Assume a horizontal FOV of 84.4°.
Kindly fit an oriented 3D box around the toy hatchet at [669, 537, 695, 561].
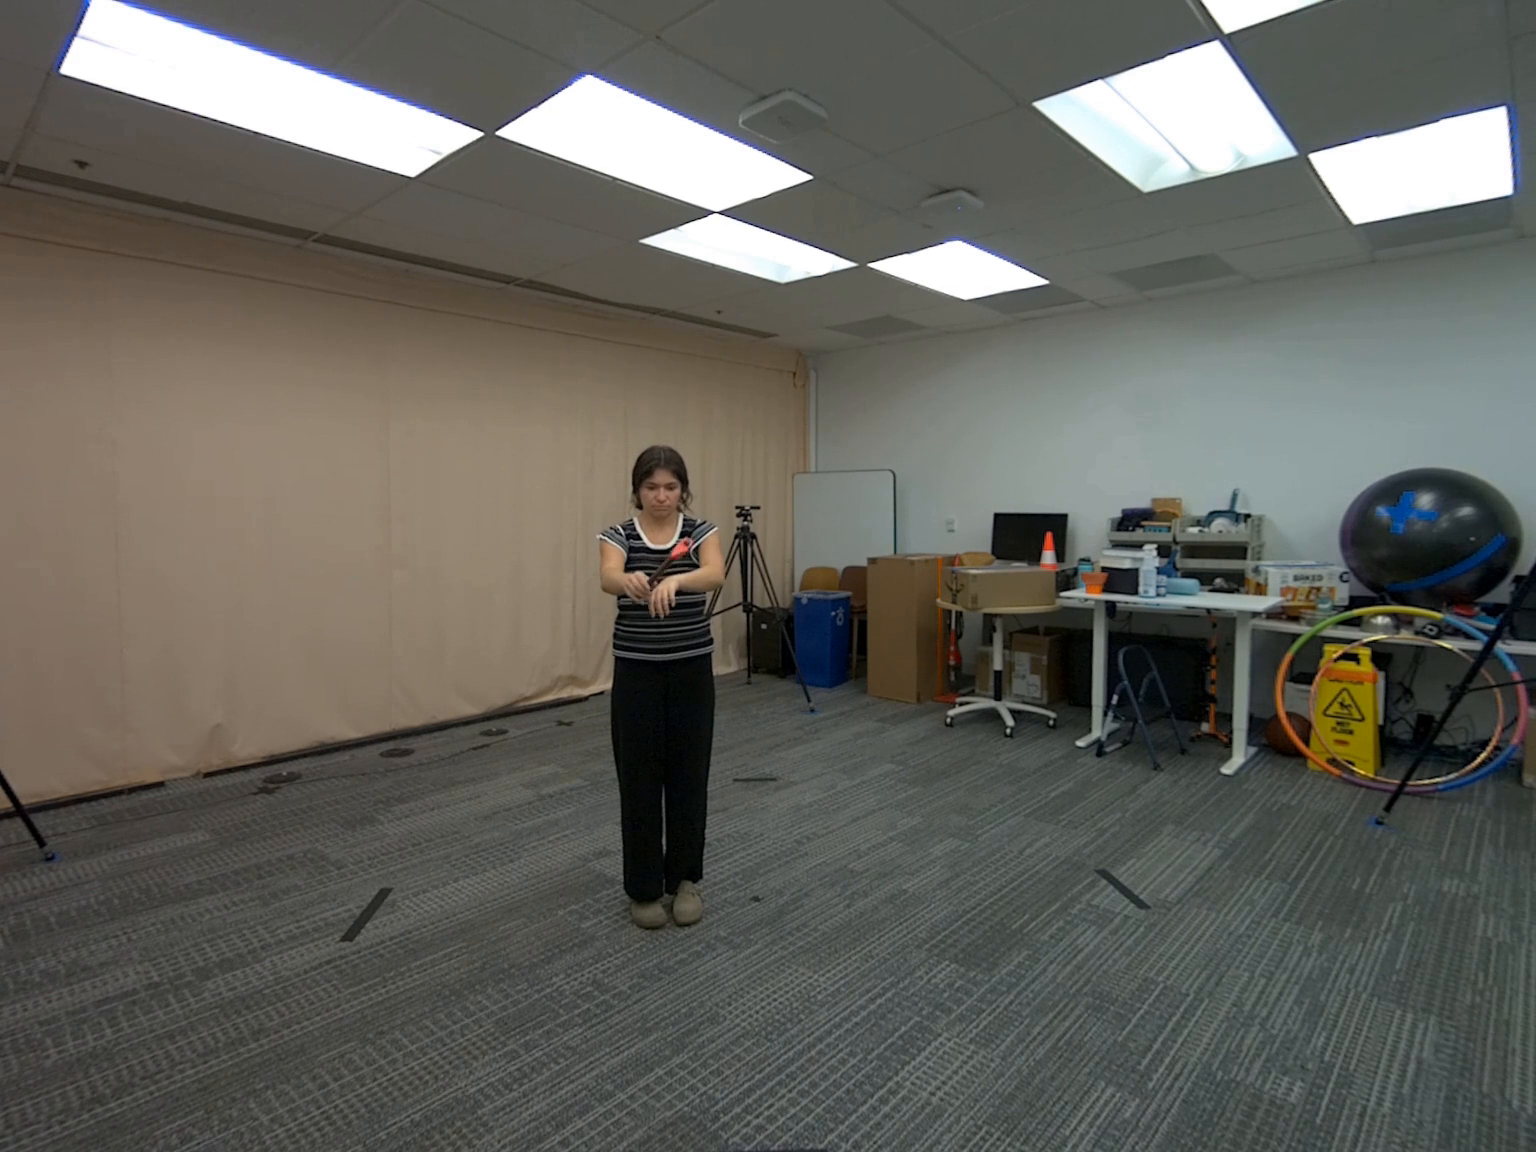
[{"bbox_3d":[-0.272,-0.007,2.301,0.273,0.029,0.130,-41,6,47],"label":"toy hatchet"}]
